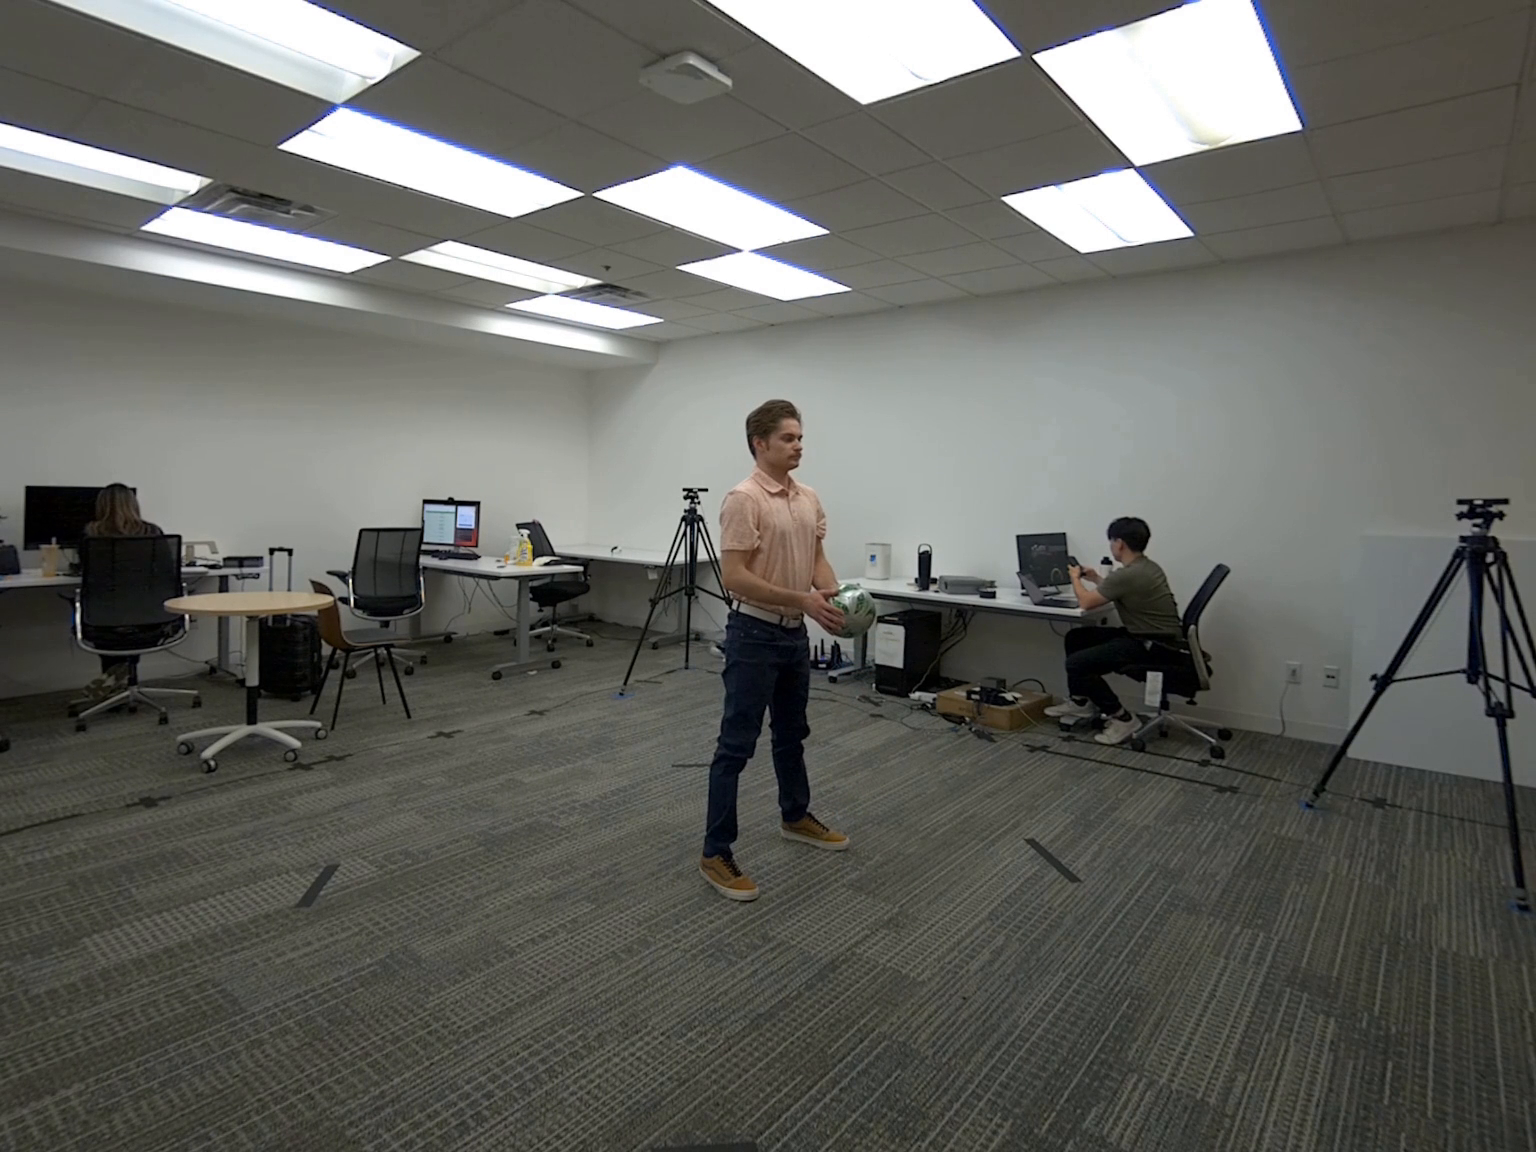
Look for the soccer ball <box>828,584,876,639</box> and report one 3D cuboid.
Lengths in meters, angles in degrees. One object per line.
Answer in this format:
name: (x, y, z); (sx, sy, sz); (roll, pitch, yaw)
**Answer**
soccer ball: (0.274, 0.114, 2.897); (0.187, 0.187, 0.188); (1, 4, -2)
